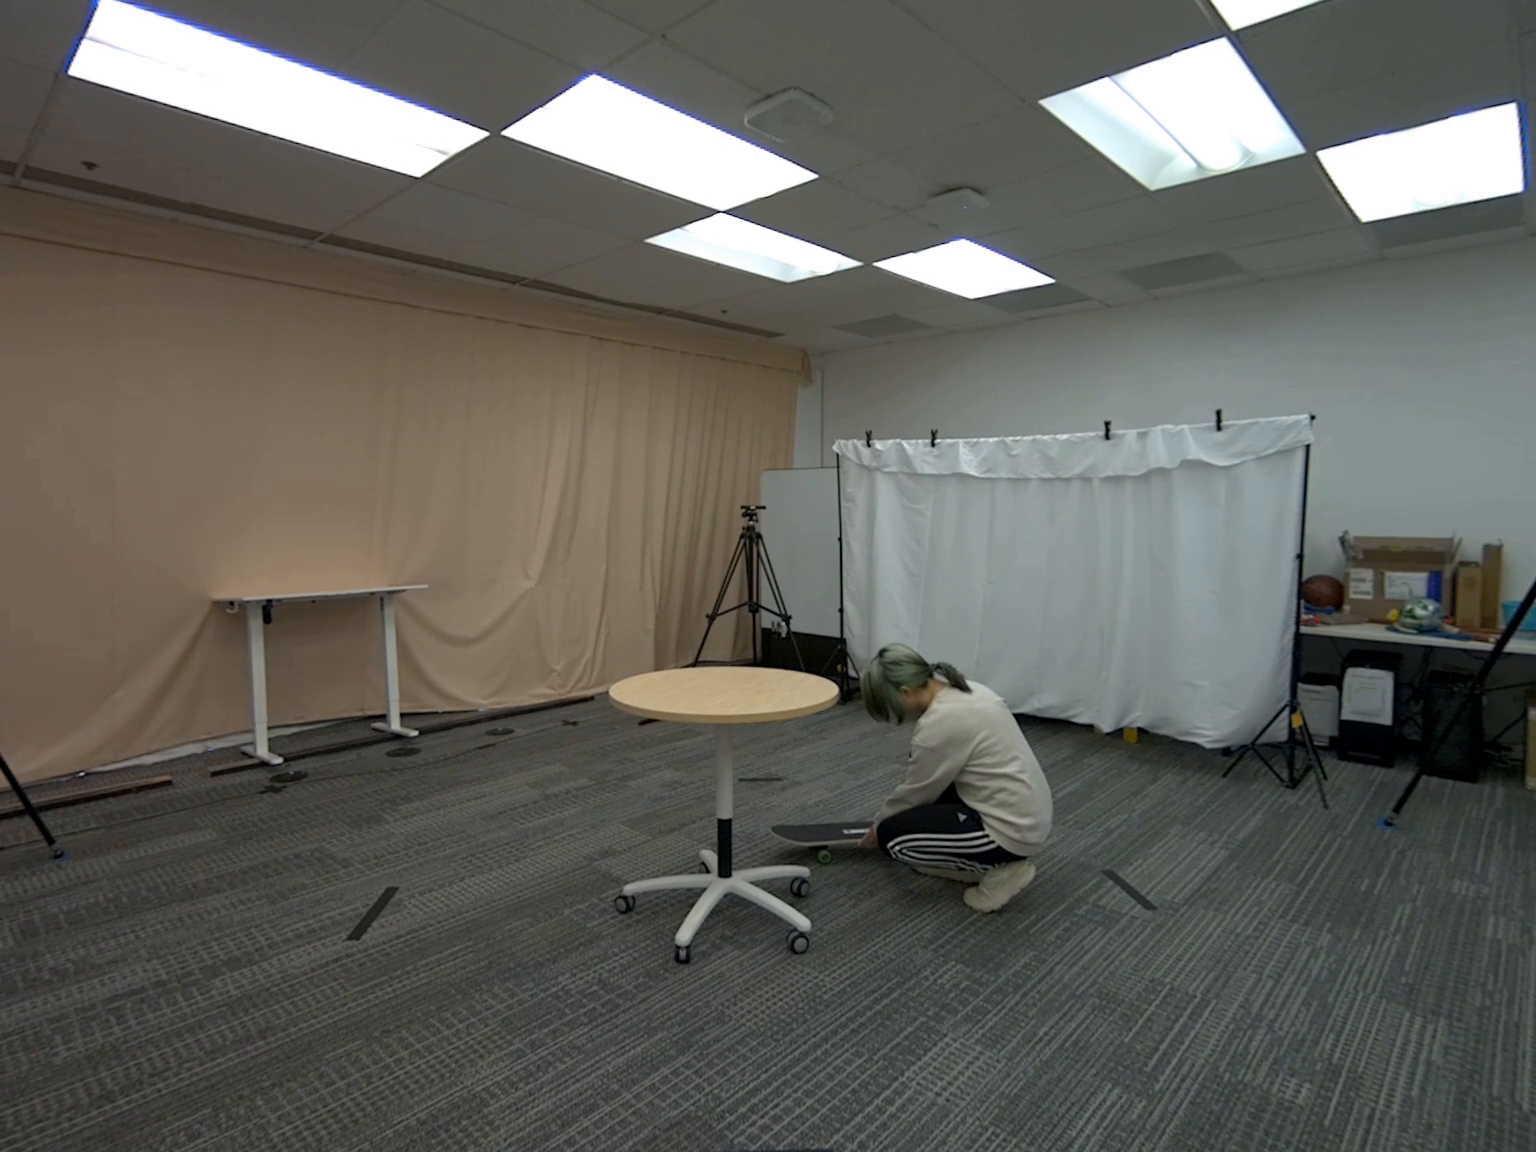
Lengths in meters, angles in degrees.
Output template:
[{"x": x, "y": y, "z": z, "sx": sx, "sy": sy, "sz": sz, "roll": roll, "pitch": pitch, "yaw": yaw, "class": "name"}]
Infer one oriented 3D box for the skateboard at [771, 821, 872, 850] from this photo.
[{"x": 0.395, "y": 1.053, "z": 3.373, "sx": 0.778, "sy": 0.110, "sz": 0.195, "roll": 0, "pitch": 3, "yaw": -8, "class": "skateboard"}]
